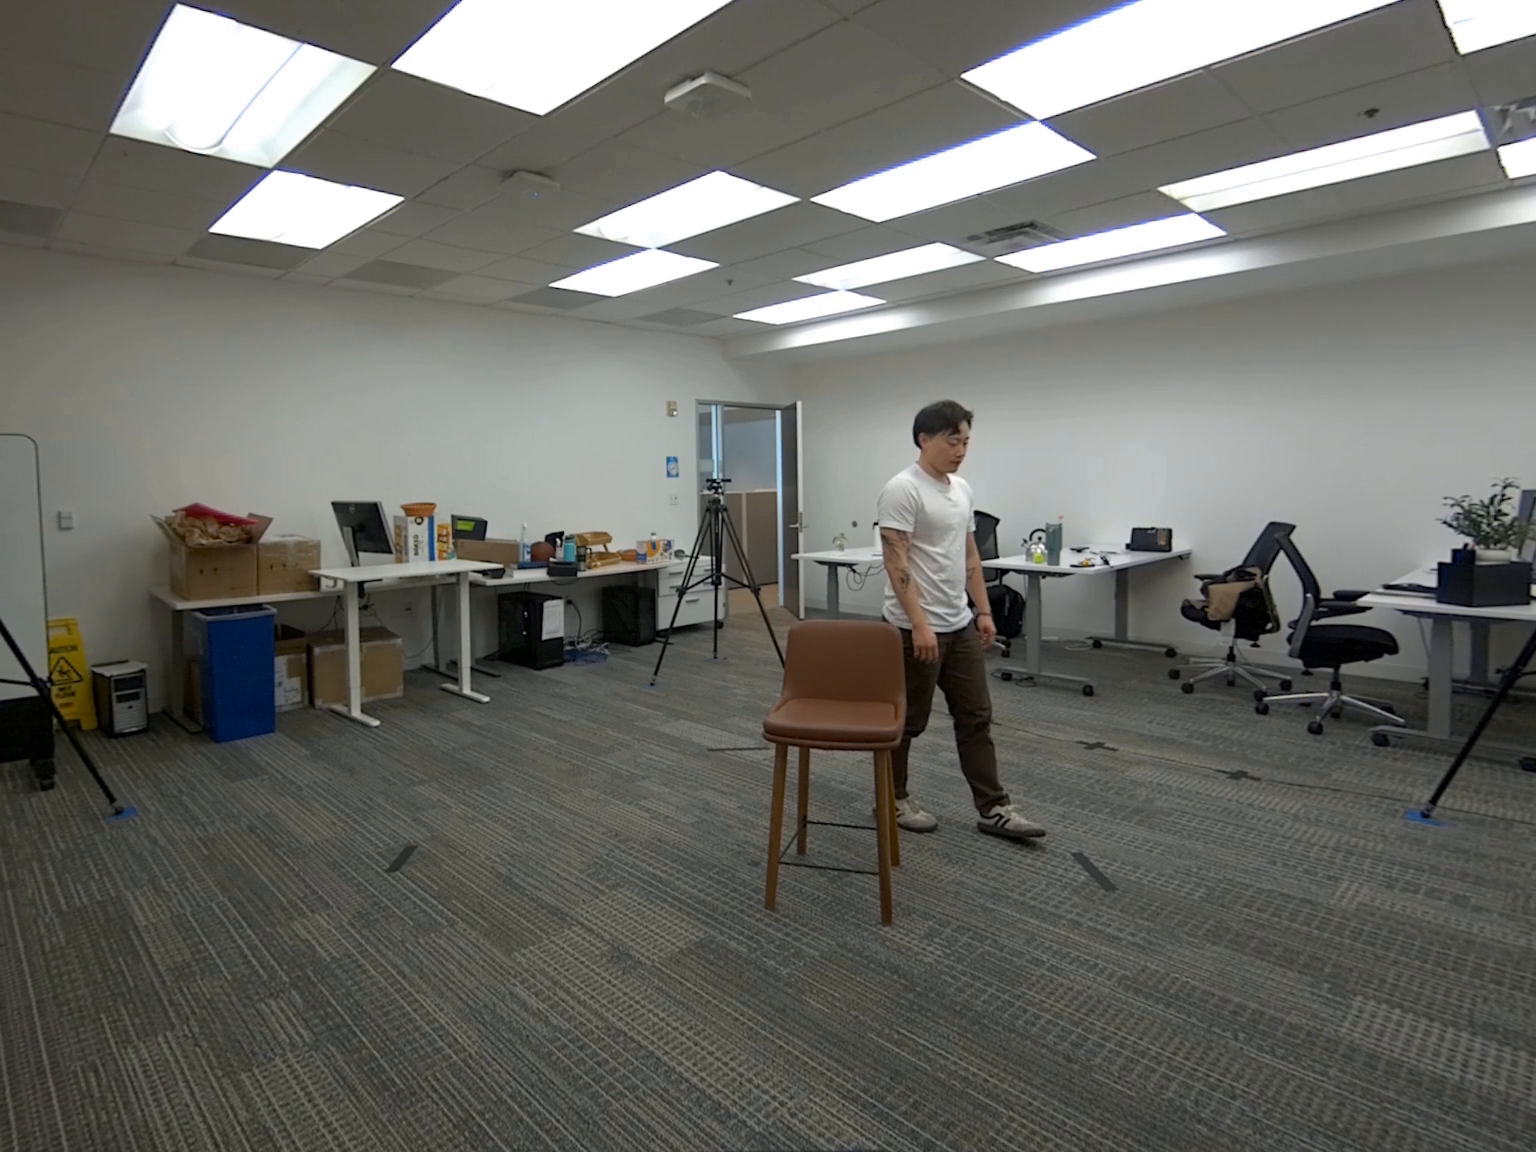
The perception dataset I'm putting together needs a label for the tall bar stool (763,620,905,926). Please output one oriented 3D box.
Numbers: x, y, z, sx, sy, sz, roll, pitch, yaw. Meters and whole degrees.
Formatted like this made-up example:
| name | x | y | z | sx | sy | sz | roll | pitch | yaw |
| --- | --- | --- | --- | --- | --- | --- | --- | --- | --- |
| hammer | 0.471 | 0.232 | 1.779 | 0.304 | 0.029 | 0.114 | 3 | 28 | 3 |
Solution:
| name | x | y | z | sx | sy | sz | roll | pitch | yaw |
| --- | --- | --- | --- | --- | --- | --- | --- | --- | --- |
| tall bar stool | 0.240 | 0.629 | 2.904 | 0.465 | 0.887 | 0.461 | 1 | 3 | 18 |
